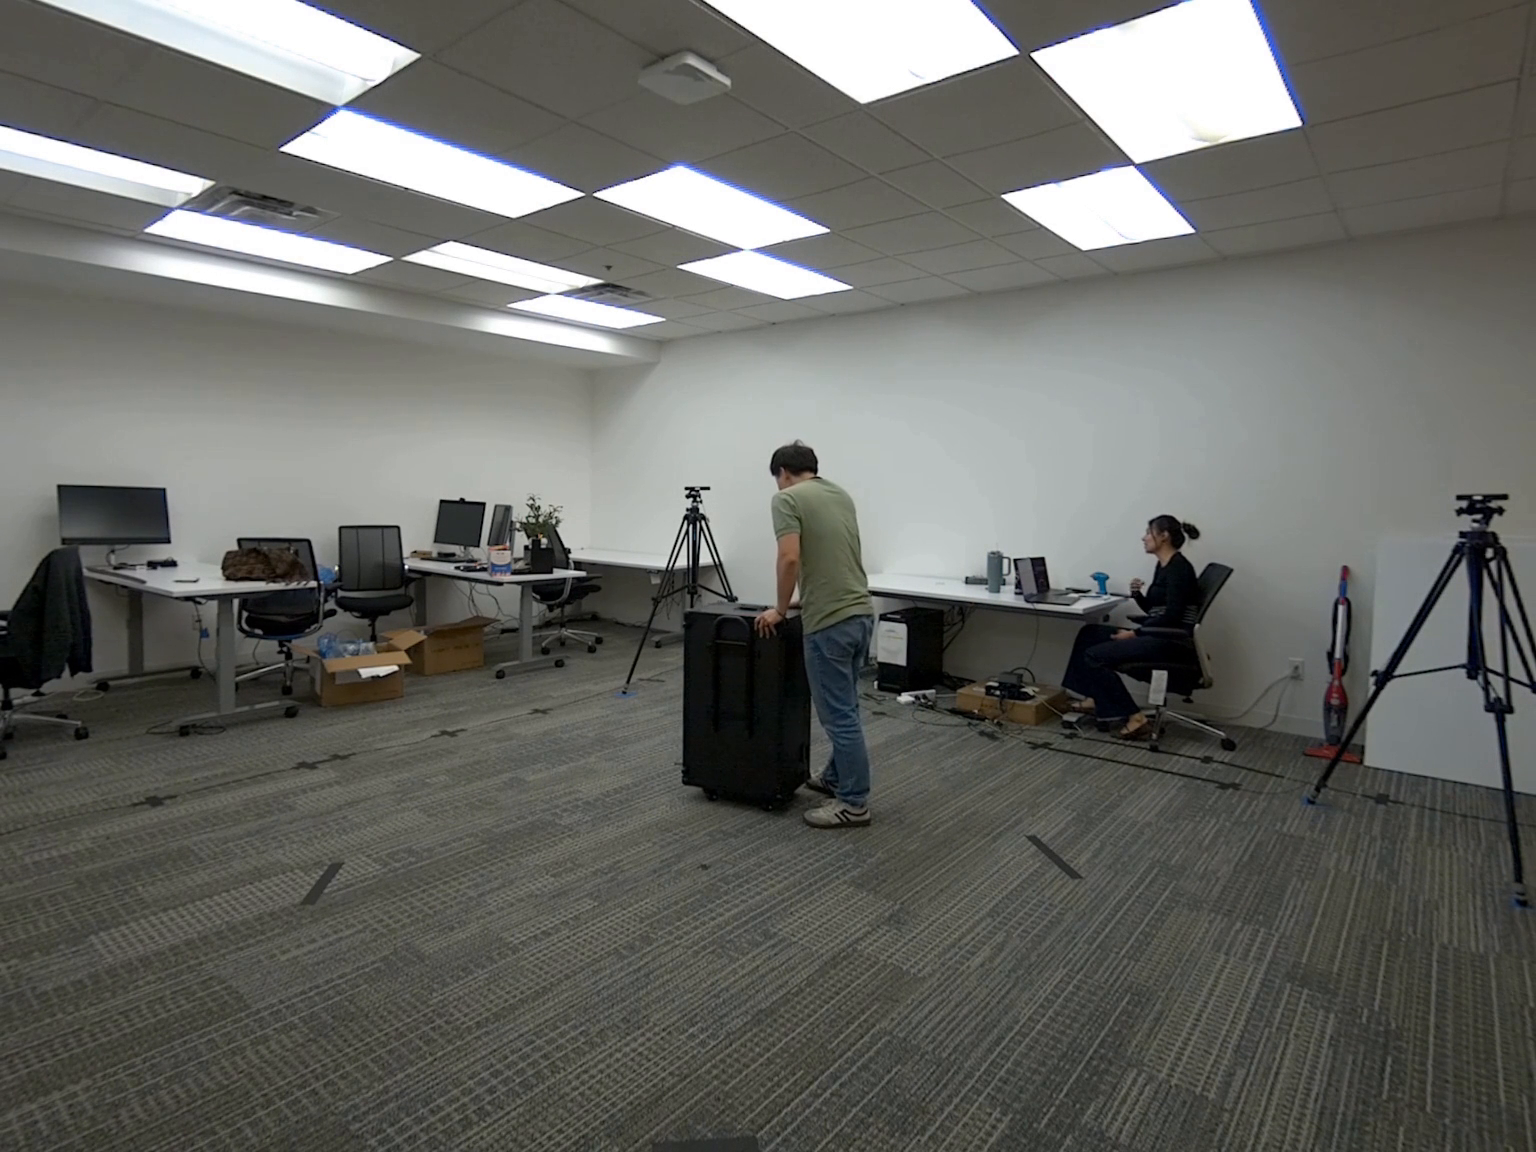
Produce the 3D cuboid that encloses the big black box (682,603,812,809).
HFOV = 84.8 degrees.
[{"bbox_3d":[-0.104,0.576,3.818,0.534,0.858,0.388,2,4,24],"label":"big black box"}]
